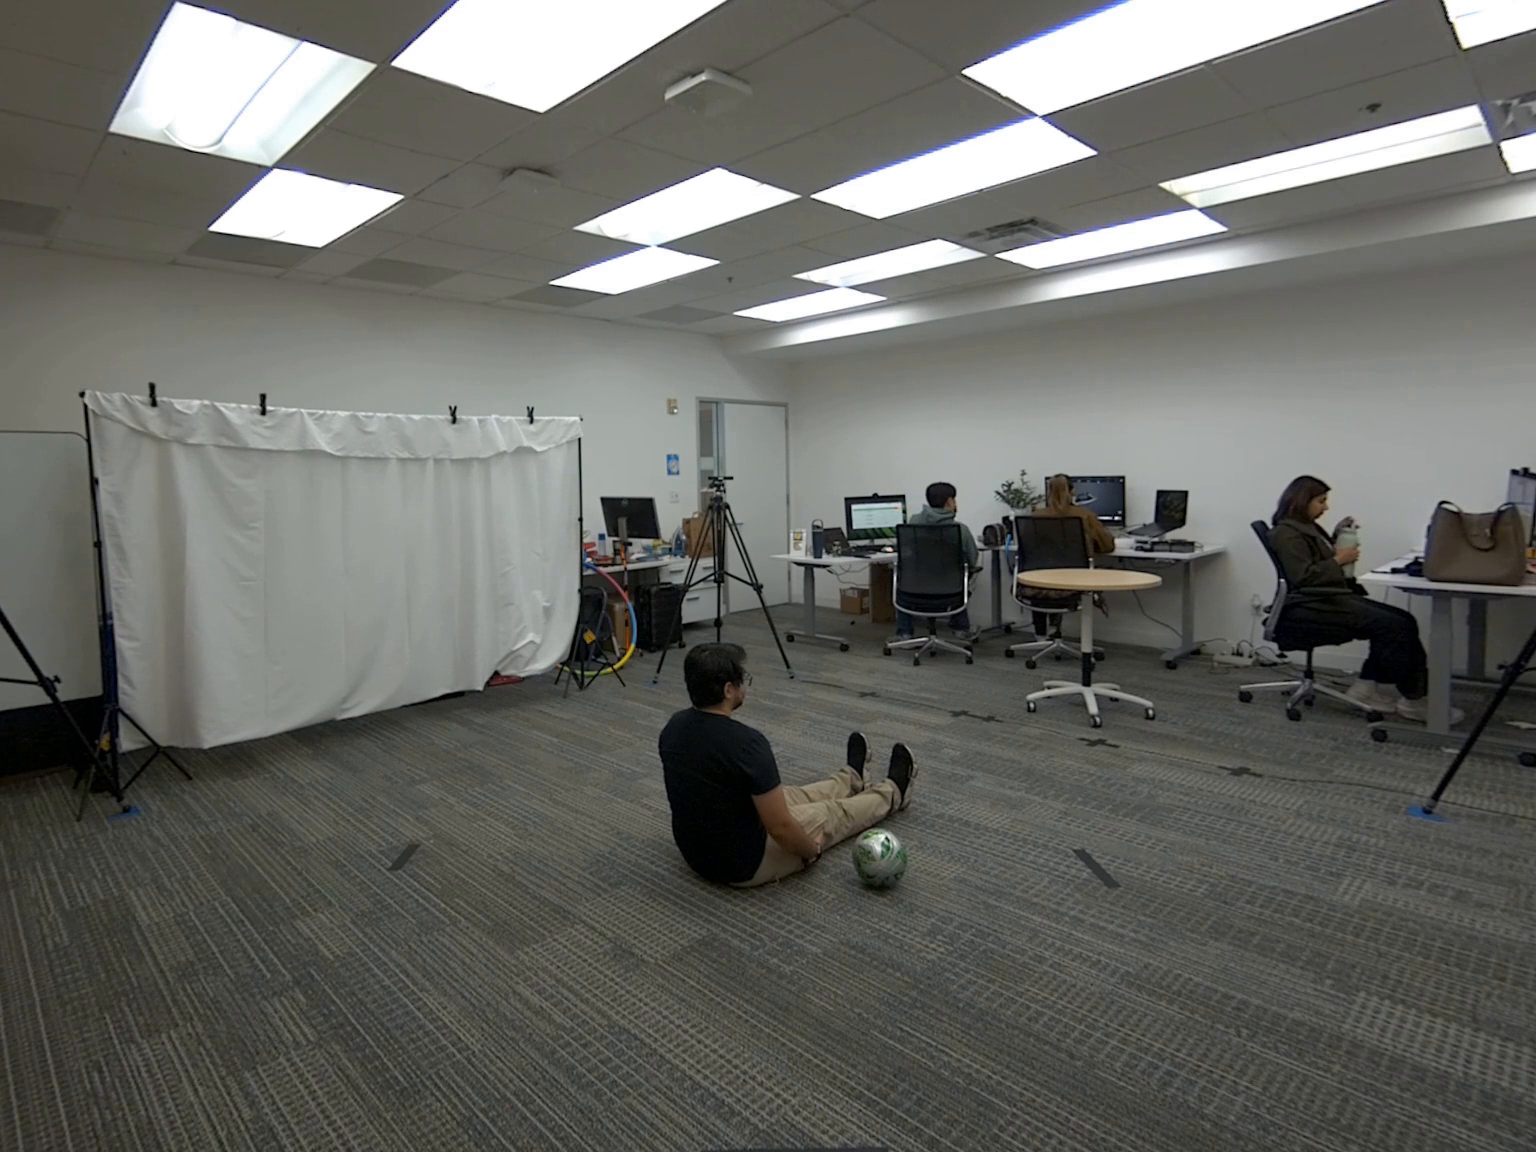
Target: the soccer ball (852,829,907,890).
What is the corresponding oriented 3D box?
[{"bbox_3d":[0.376,0.949,2.908,0.187,0.187,0.188,-1,4,-2],"label":"soccer ball"}]
